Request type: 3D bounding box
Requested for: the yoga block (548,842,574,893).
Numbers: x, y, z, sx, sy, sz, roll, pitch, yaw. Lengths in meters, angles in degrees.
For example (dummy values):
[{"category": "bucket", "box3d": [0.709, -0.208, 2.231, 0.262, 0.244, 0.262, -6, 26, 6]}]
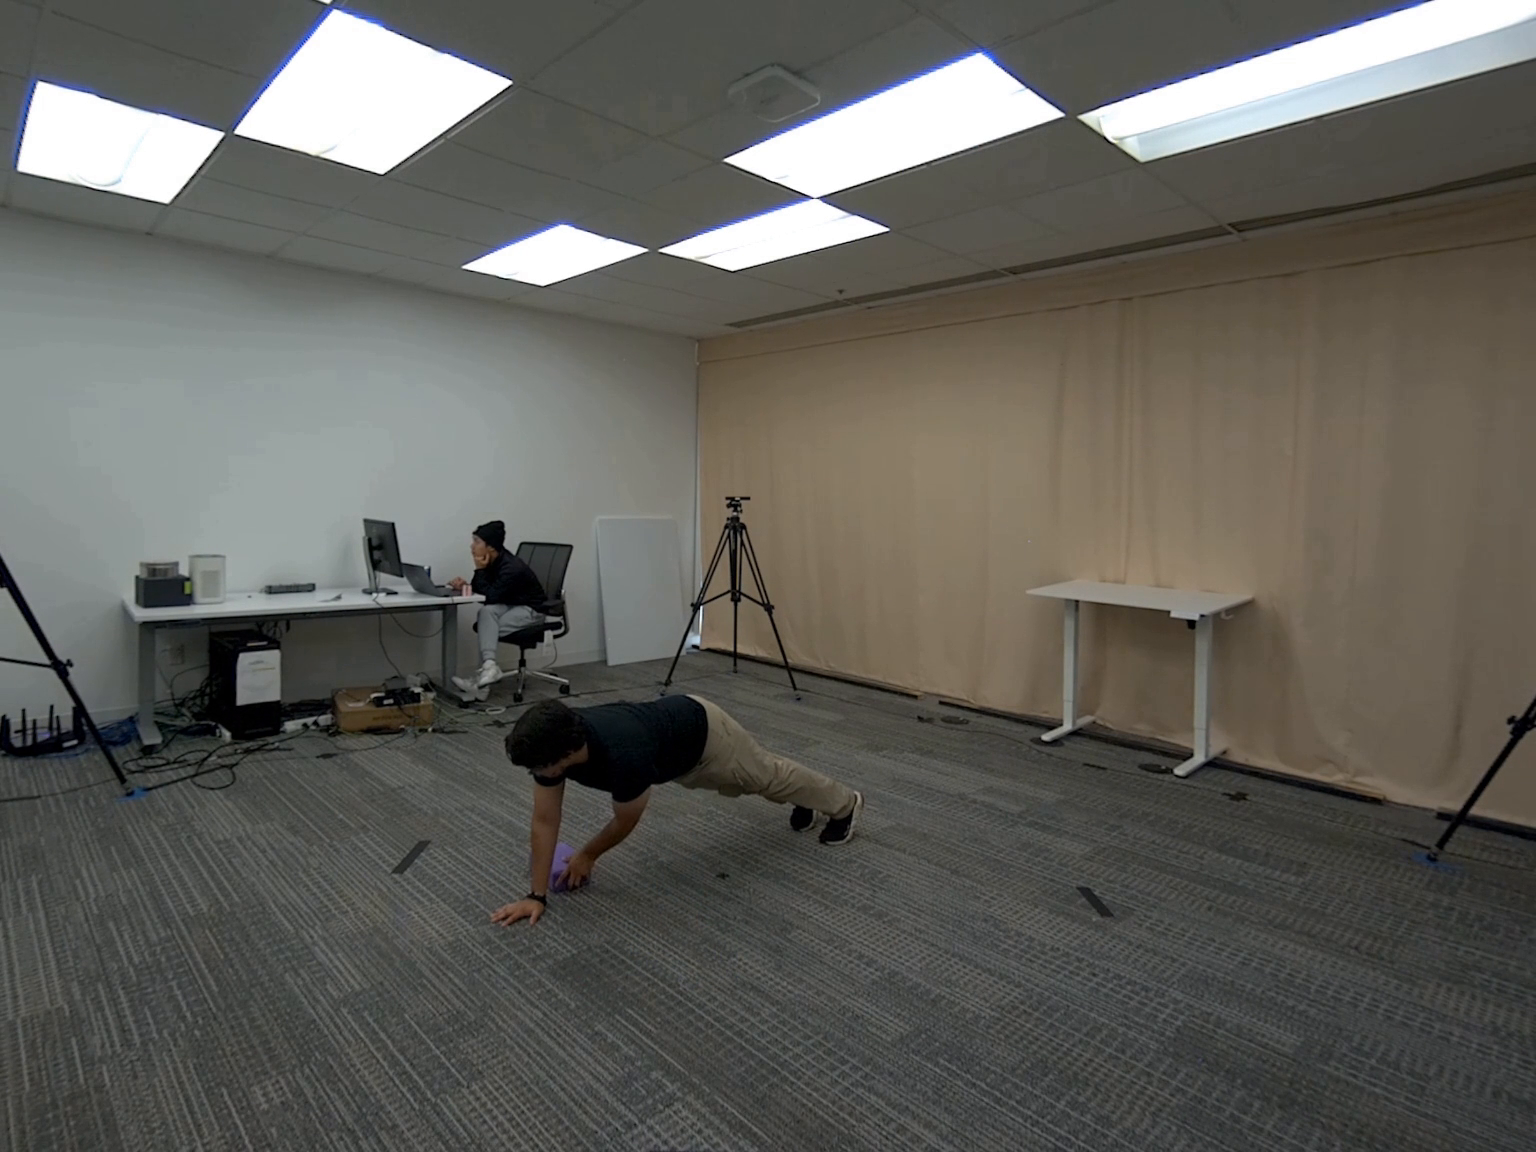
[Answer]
[{"category": "yoga block", "box3d": [-0.764, 1.062, 3.064, 0.146, 0.076, 0.235, -3, 7, -36]}]
